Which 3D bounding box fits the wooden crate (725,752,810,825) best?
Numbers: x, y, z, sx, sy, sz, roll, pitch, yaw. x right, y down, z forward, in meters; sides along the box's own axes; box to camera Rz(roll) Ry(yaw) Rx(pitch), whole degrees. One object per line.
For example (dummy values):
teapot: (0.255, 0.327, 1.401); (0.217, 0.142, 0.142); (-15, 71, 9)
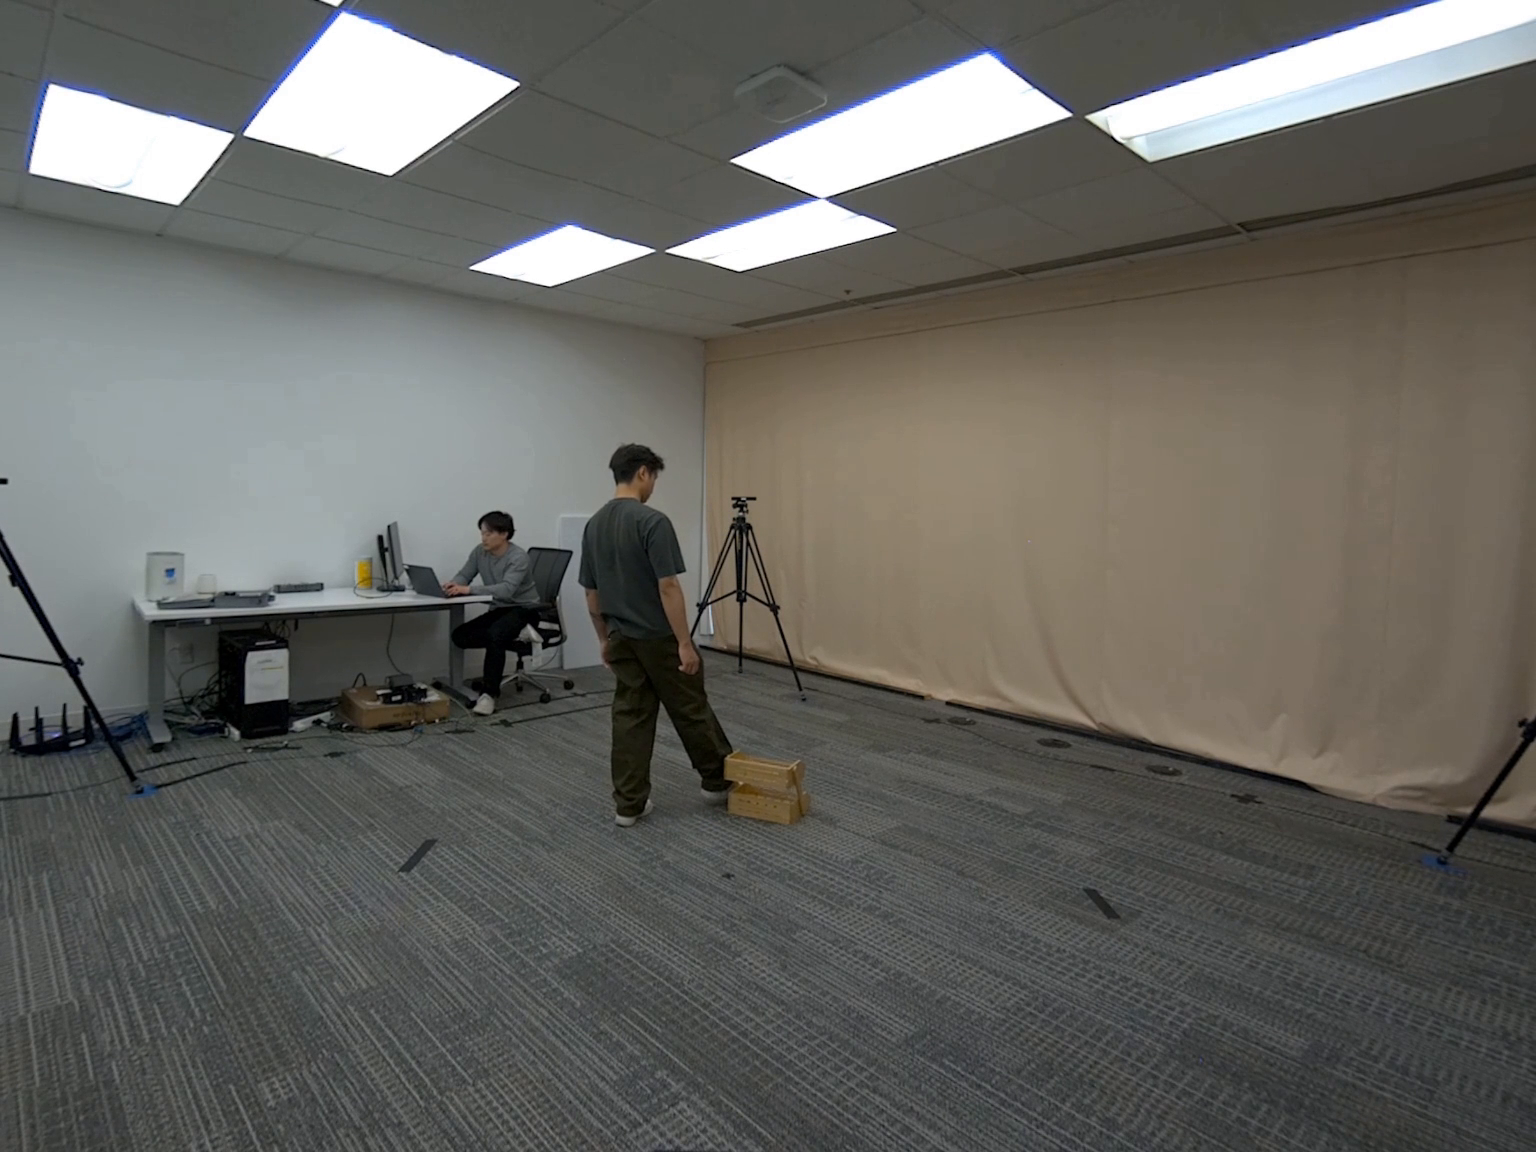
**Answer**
wooden crate: (-0.008, 0.920, 3.759); (0.331, 0.272, 0.297); (4, 5, 24)
